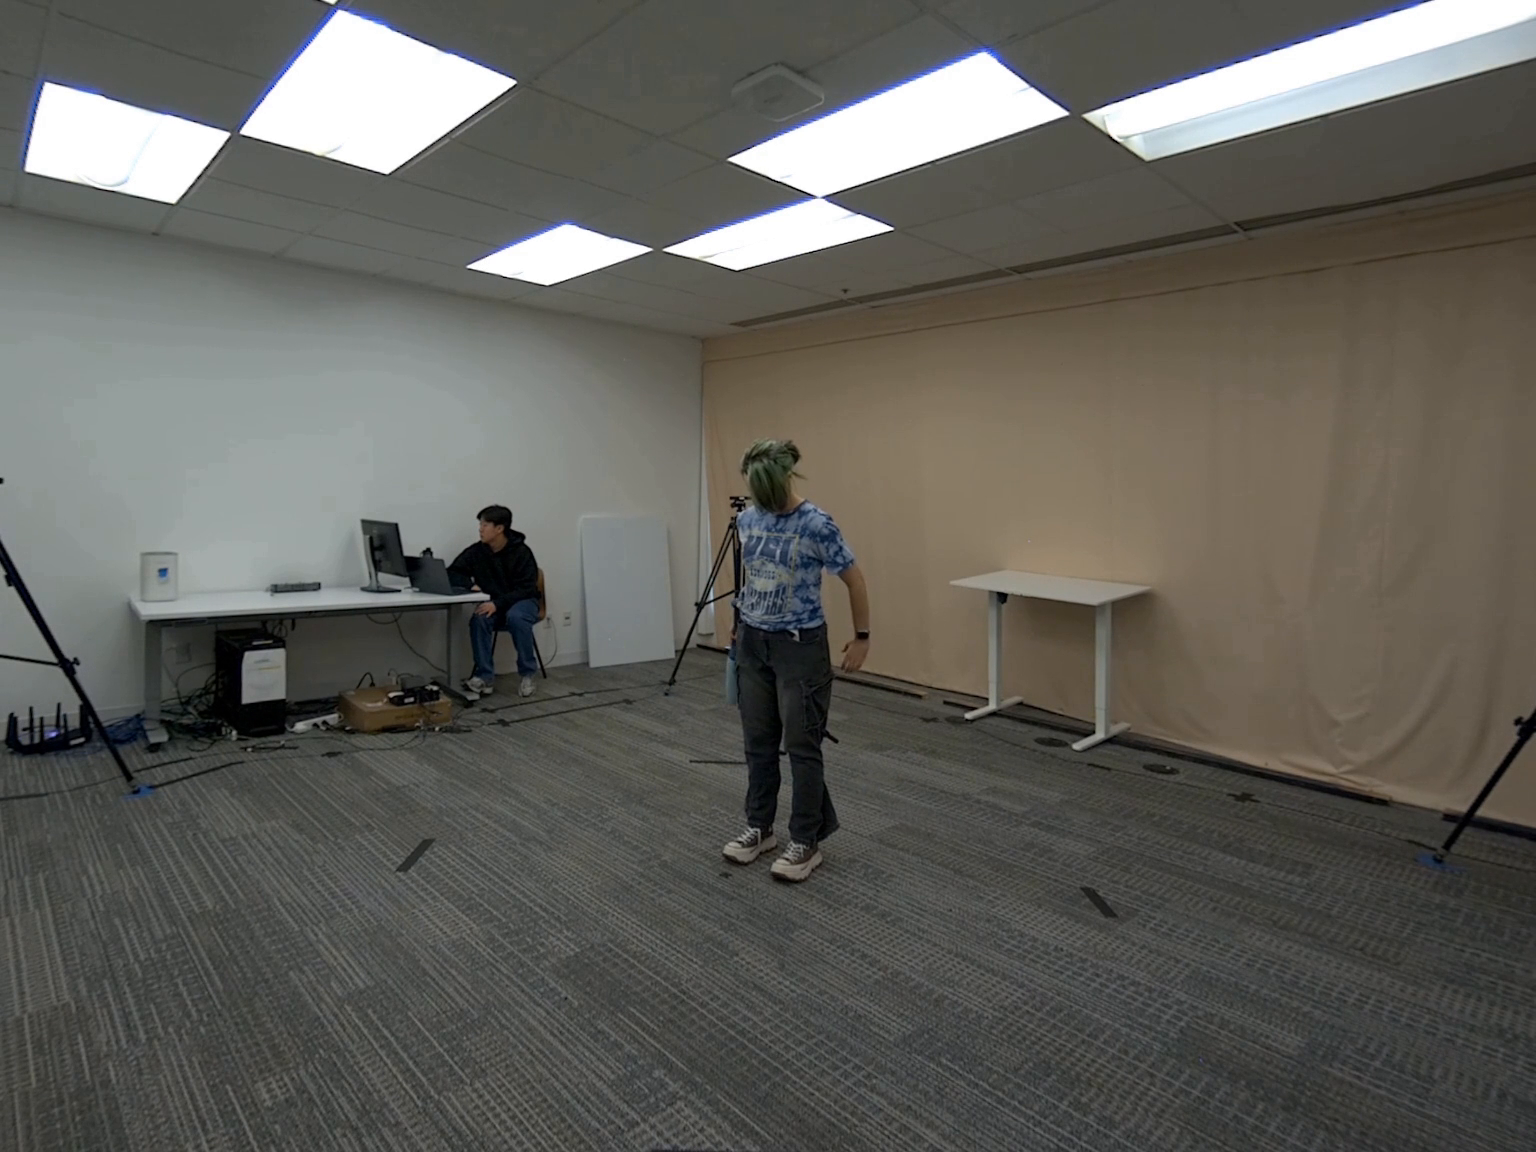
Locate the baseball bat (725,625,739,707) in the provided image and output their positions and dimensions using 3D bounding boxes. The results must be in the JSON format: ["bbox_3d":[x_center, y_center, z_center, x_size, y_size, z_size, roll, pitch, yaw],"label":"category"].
[{"bbox_3d":[-0.137,0.331,3.543,0.089,0.532,0.091,1,33,-2],"label":"baseball bat"}]
